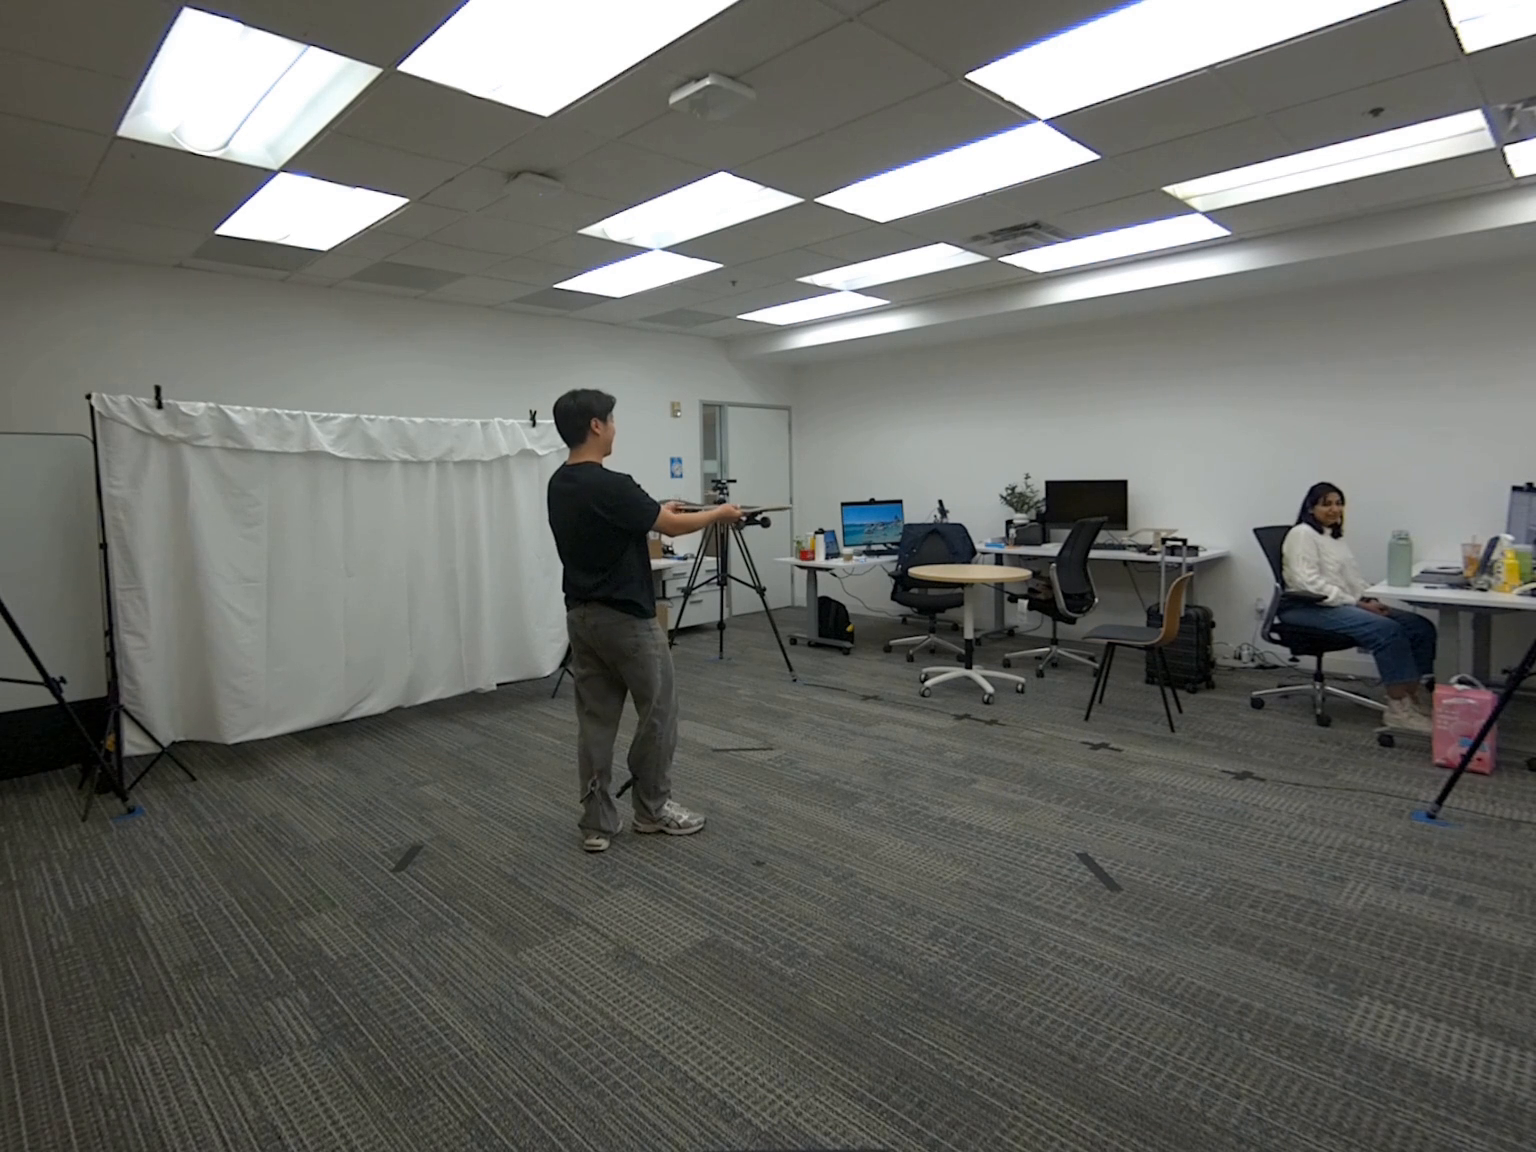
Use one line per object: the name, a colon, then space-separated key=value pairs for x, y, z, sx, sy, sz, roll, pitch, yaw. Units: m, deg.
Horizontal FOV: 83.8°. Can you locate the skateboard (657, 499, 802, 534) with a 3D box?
skateboard: x=-0.210 y=-0.266 z=3.717 sx=0.188 sy=0.110 sz=0.810 roll=-7 pitch=9 yaw=-42
